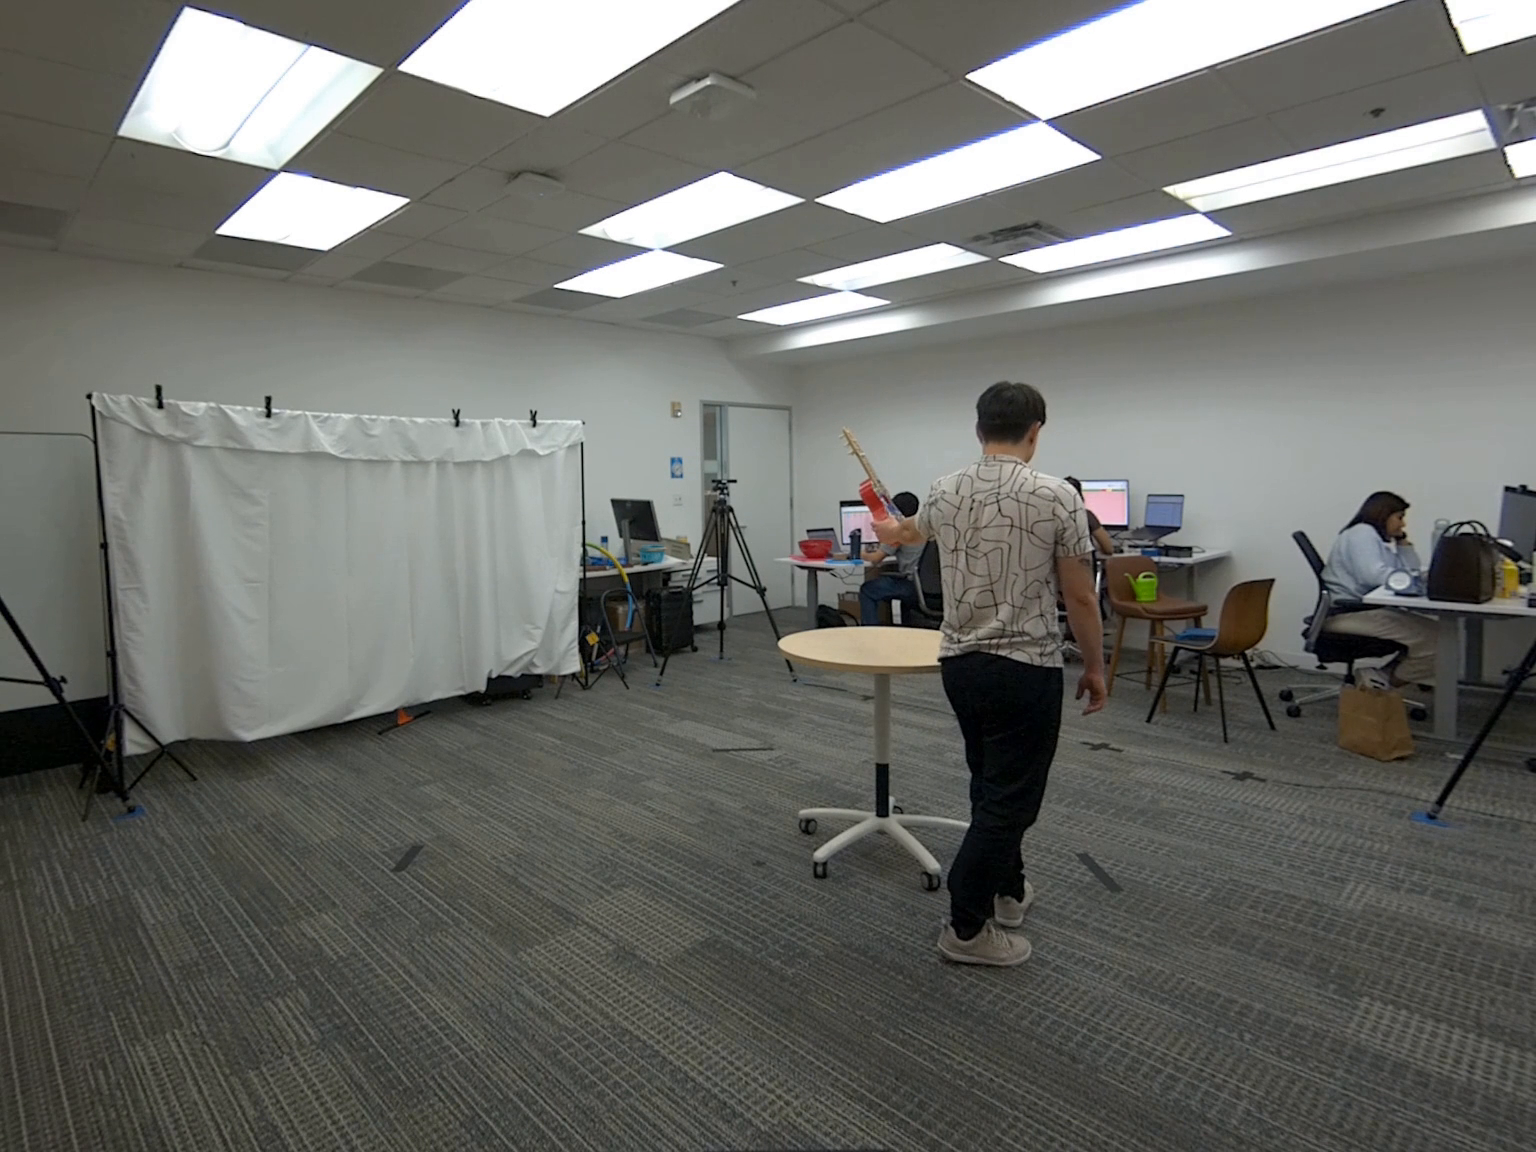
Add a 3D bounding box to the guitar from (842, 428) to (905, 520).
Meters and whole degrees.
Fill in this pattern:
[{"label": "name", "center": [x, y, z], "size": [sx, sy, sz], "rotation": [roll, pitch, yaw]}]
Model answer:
[{"label": "guitar", "center": [0.413, -0.351, 3.330], "size": [0.071, 0.508, 0.187], "rotation": [-32, -19, 27]}]
